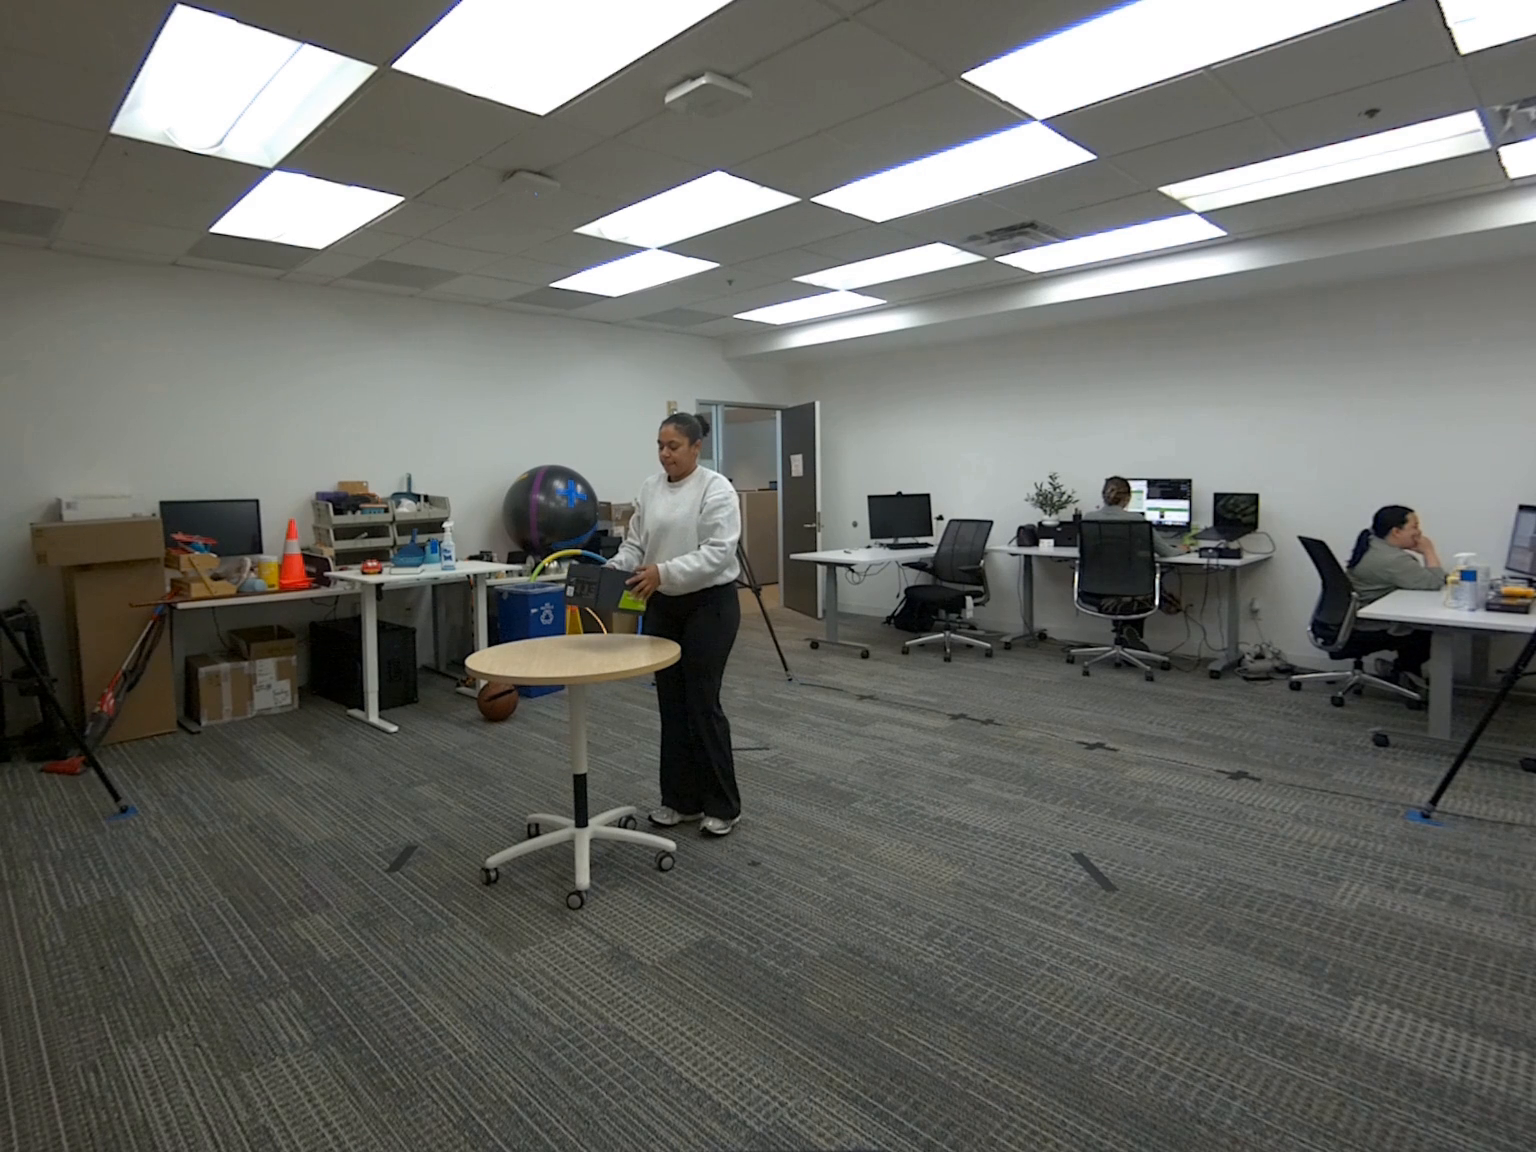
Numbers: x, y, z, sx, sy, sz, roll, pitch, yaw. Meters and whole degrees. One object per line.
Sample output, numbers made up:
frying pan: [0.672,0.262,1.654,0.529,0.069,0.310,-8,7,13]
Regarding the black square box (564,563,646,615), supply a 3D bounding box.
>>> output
black square box: [-0.598,0.047,3.178,0.224,0.156,0.220,4,-6,44]
